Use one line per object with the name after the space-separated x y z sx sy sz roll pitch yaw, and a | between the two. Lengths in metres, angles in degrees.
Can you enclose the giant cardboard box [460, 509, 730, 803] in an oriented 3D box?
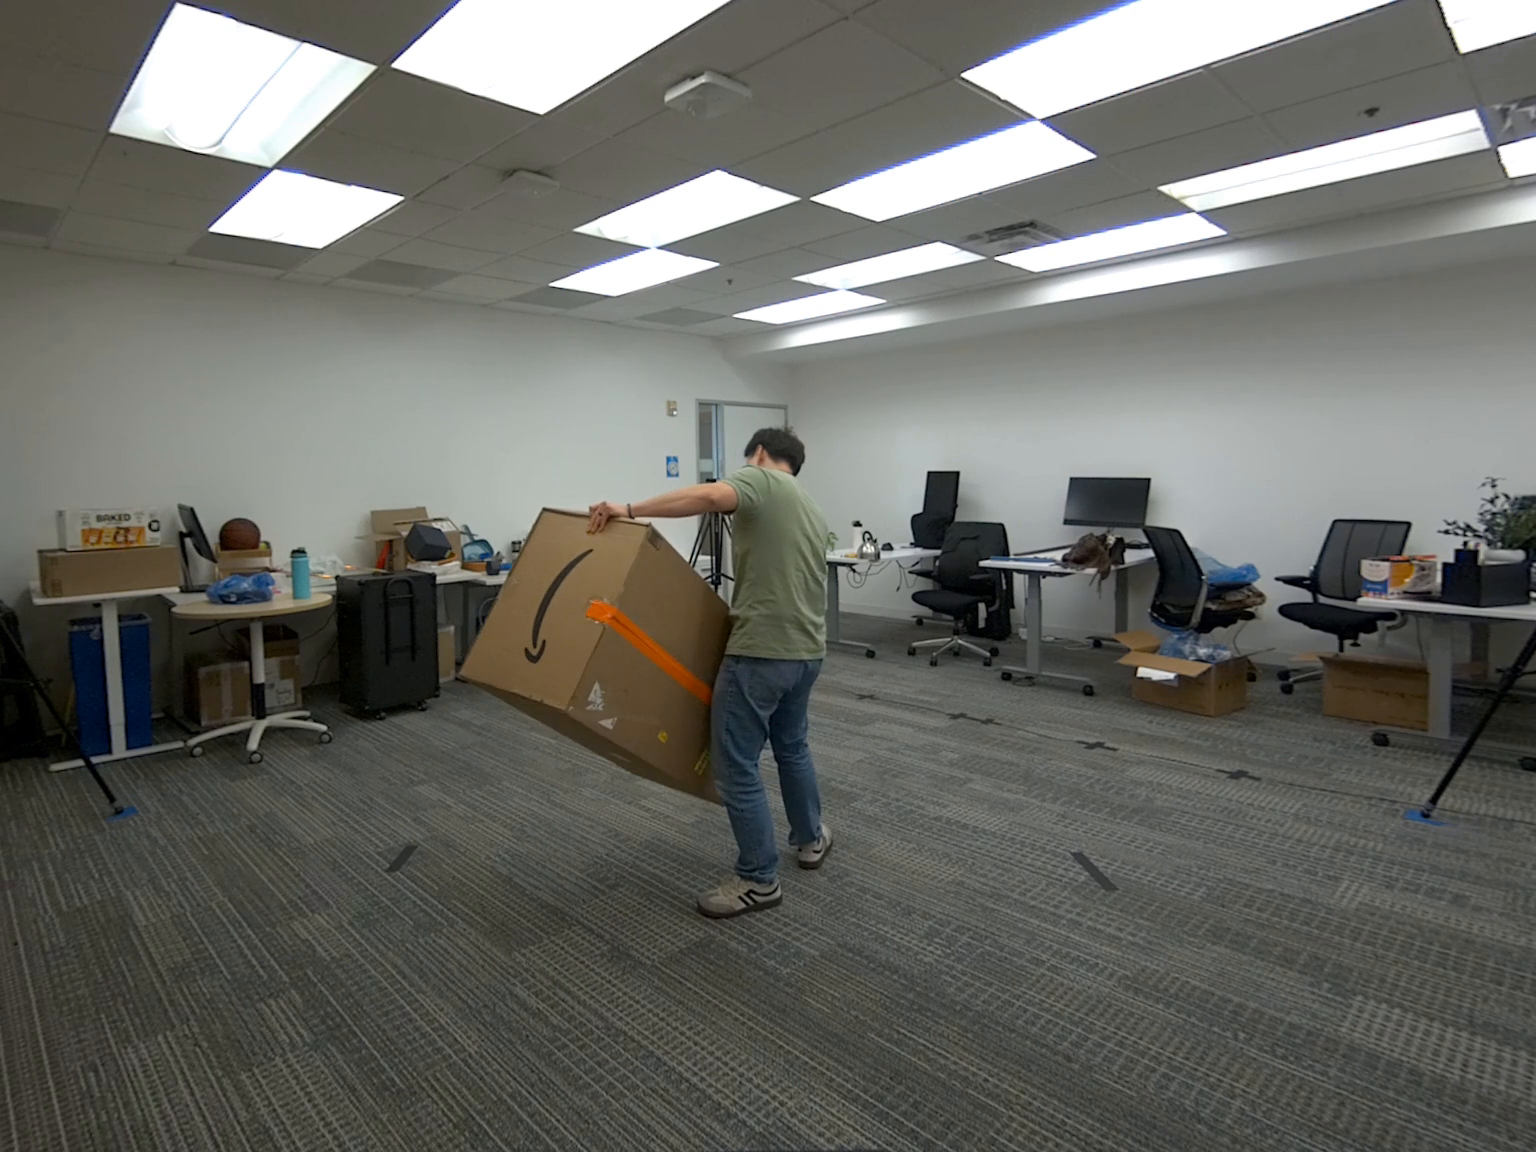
-0.419 0.298 2.824 0.439 0.583 0.987 10 -23 29 | giant cardboard box
